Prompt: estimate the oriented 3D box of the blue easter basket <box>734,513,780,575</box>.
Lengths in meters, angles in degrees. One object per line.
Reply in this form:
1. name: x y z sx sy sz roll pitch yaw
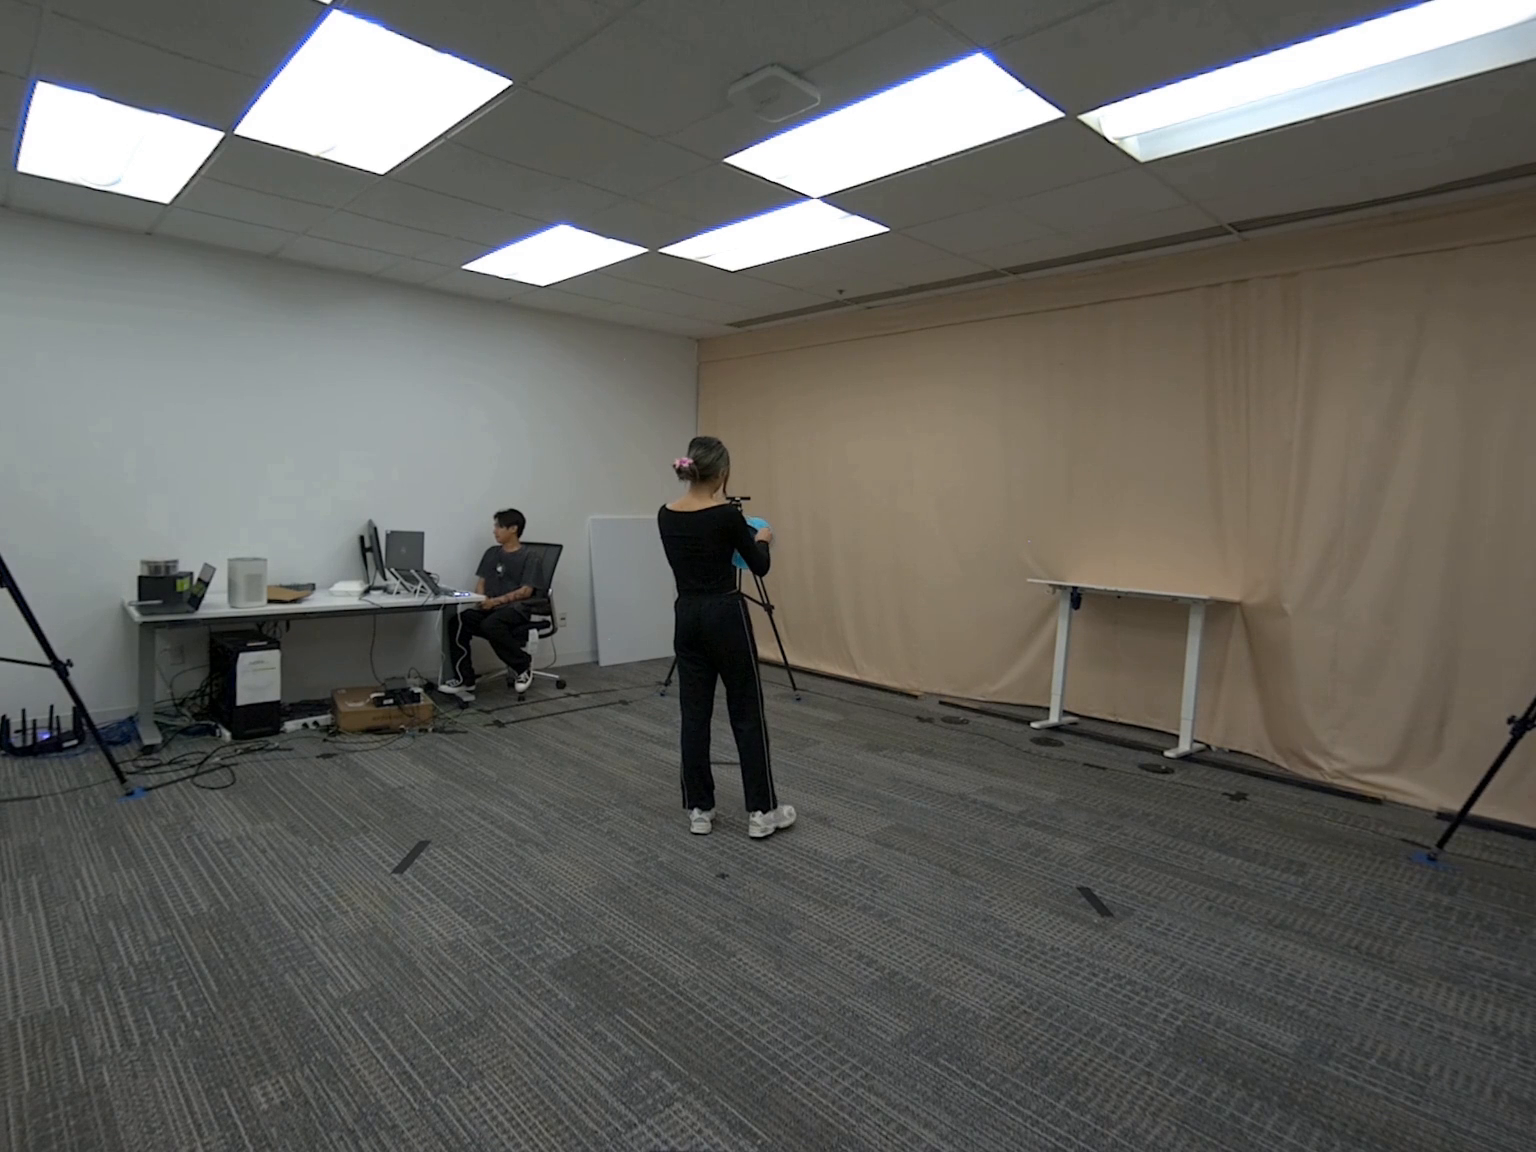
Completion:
1. blue easter basket: -0.095 -0.156 3.959 0.248 0.240 0.155 3 19 21
